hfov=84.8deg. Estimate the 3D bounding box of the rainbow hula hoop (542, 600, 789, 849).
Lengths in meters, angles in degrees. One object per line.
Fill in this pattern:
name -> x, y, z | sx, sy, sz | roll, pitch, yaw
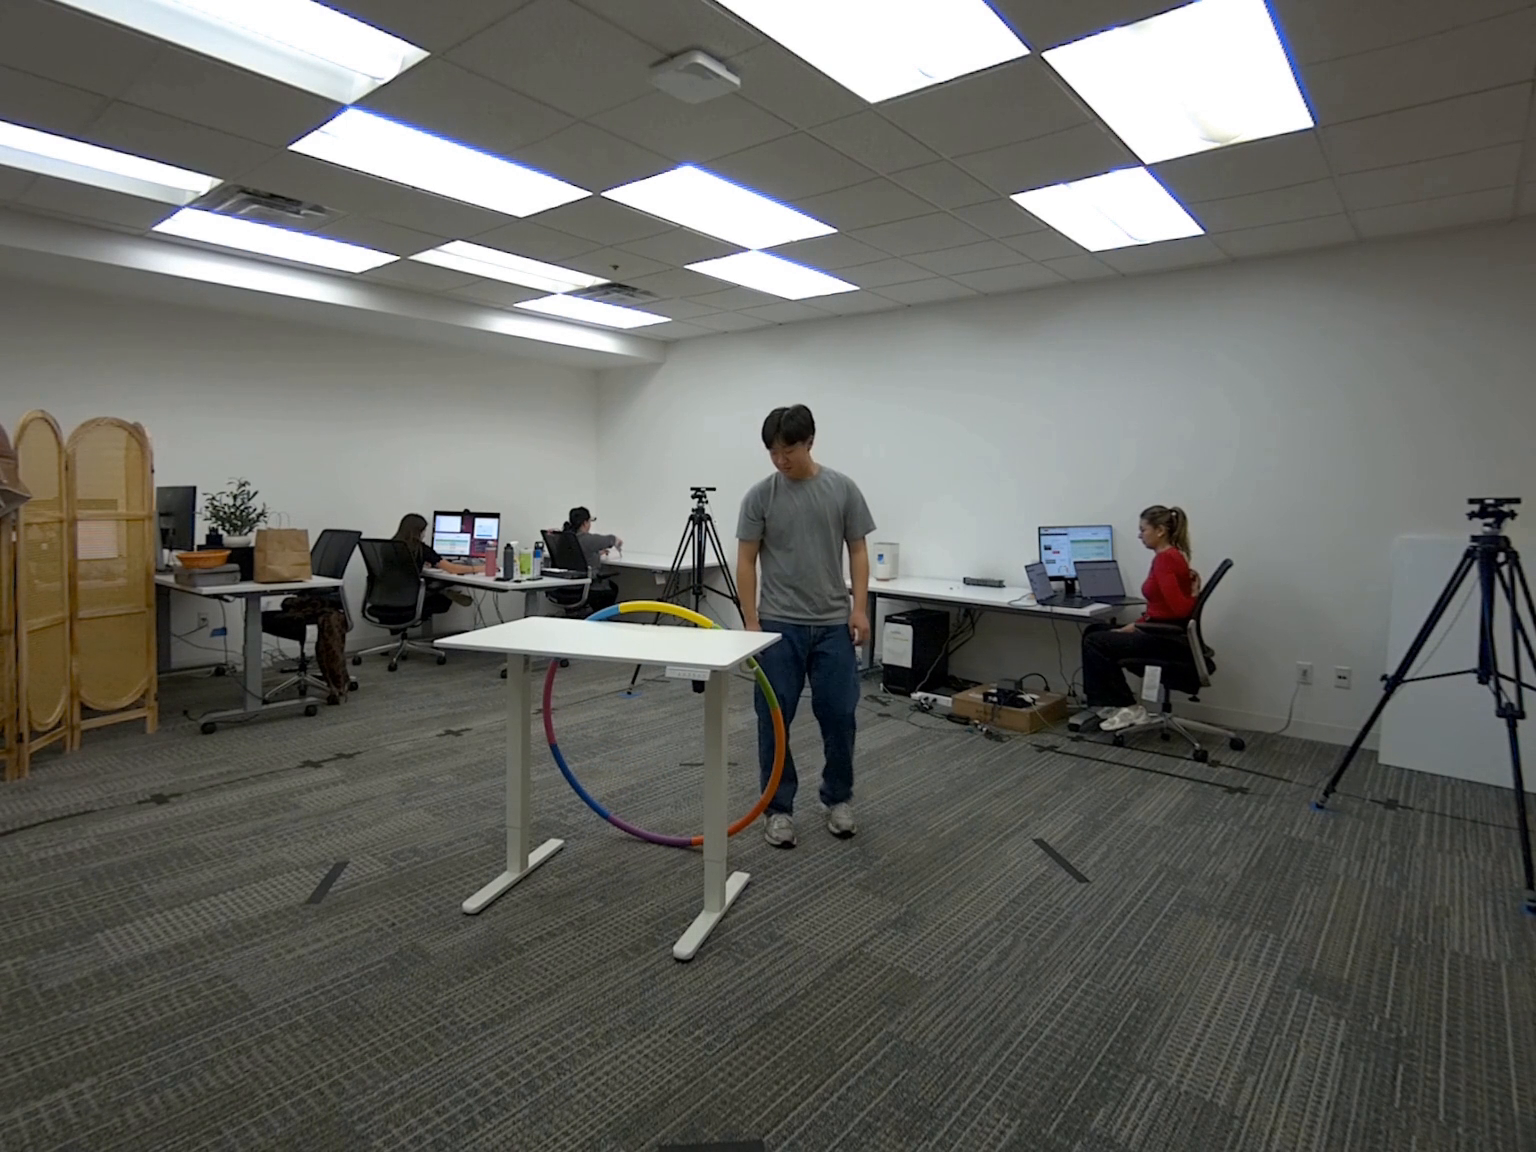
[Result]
rainbow hula hoop -> -0.429, 0.573, 3.221 | 0.998, 0.967, 0.035 | 3, 13, 18
